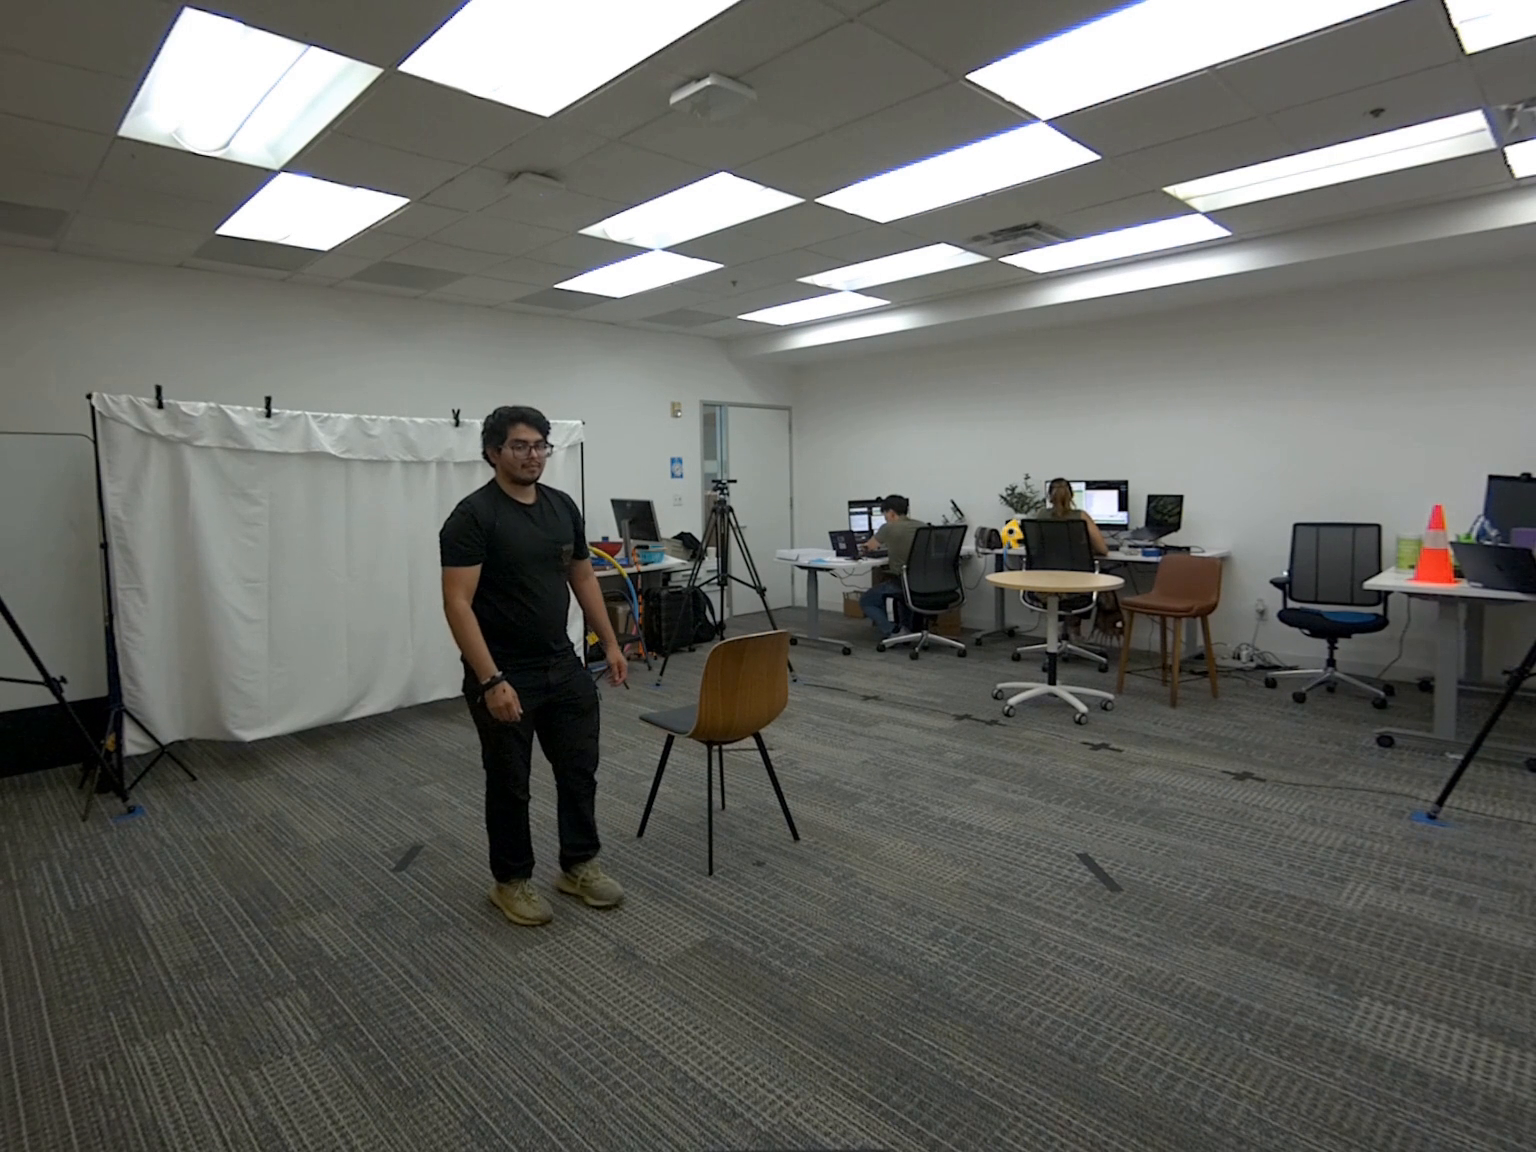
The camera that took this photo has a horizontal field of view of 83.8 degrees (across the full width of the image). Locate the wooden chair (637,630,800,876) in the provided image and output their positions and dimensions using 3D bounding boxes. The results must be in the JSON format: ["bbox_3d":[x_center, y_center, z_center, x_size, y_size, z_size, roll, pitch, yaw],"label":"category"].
[{"bbox_3d":[-0.207,0.601,3.306,0.465,0.871,0.541,-5,10,-42],"label":"wooden chair"}]
